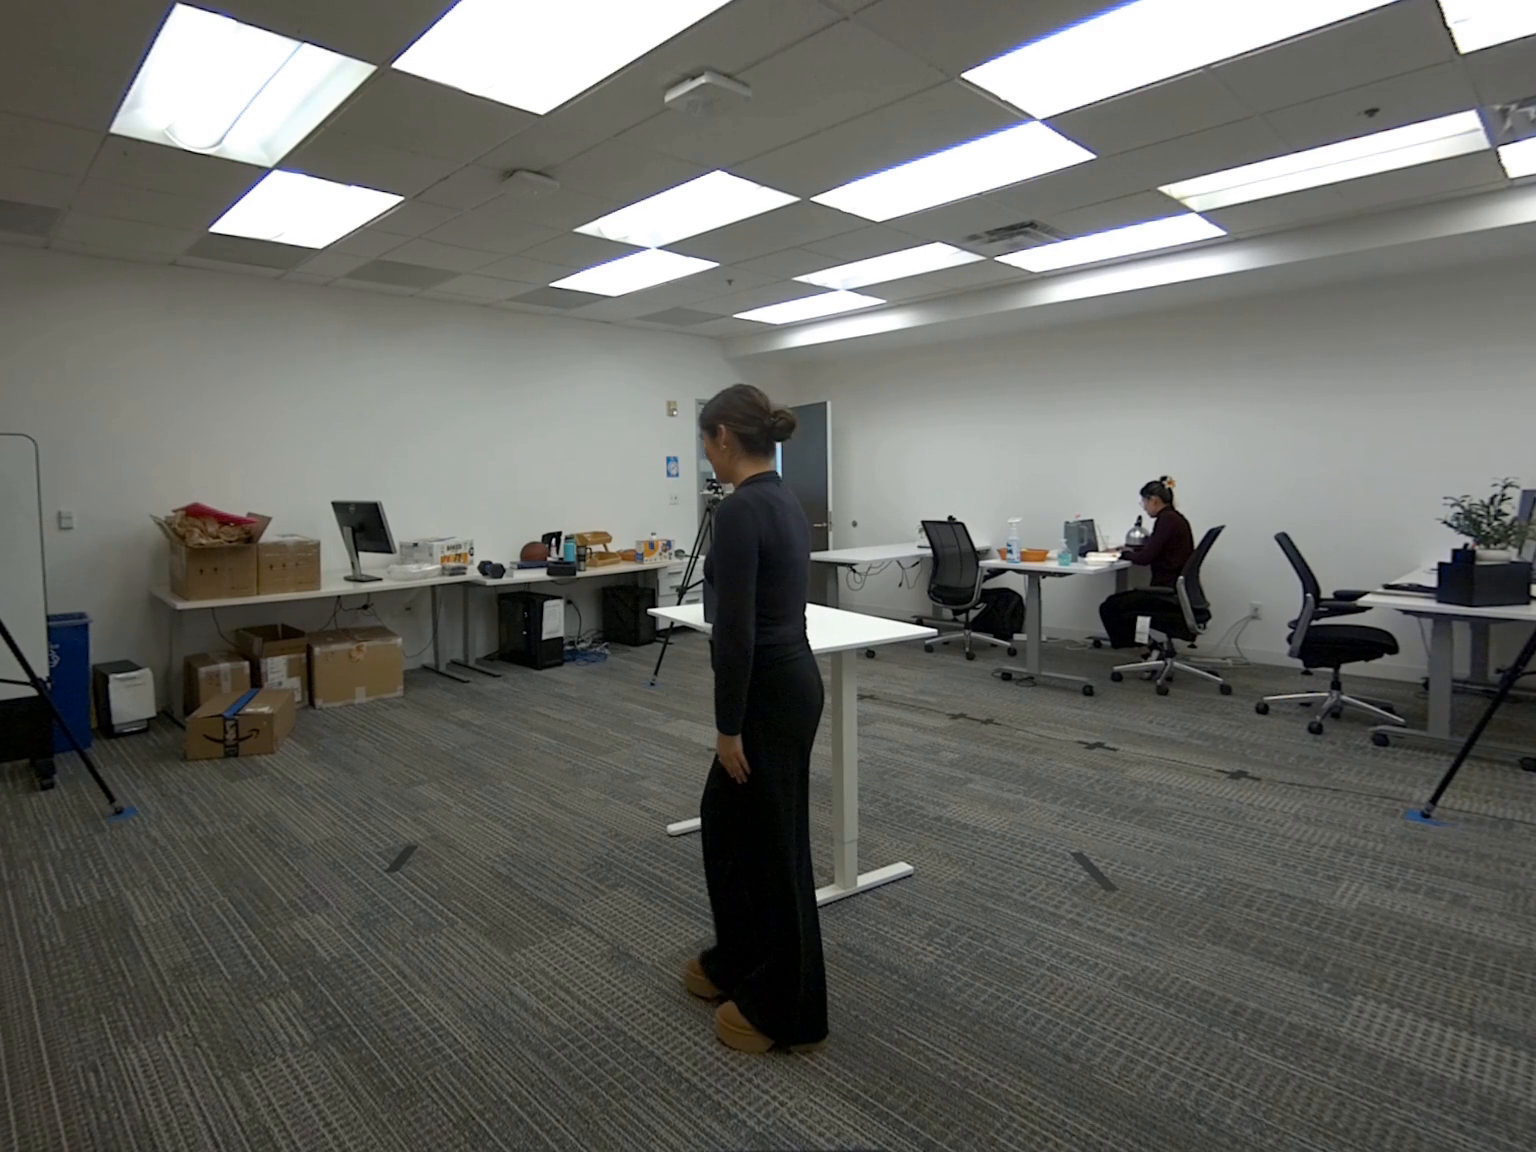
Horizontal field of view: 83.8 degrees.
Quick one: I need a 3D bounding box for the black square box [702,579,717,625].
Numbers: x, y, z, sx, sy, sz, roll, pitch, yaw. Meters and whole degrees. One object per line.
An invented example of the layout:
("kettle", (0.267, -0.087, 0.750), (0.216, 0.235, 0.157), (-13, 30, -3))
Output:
("black square box", (-0.076, 0.090, 3.050), (0.212, 0.155, 0.234), (-5, 7, -33))
